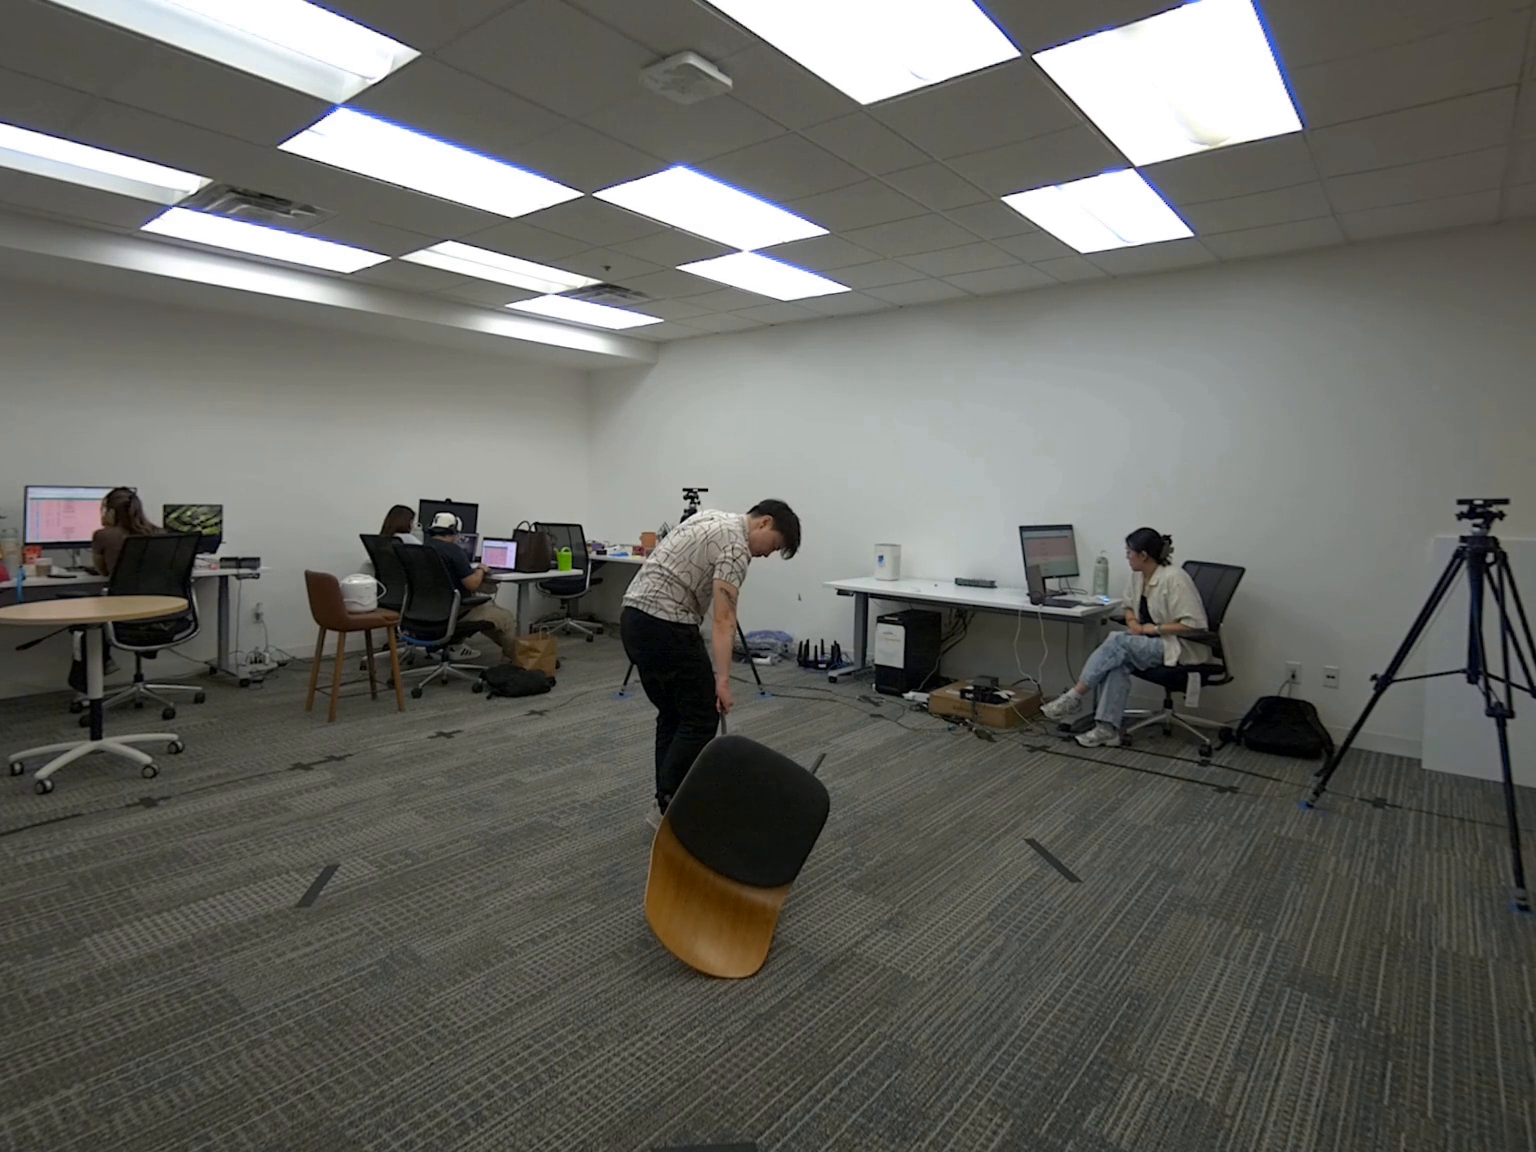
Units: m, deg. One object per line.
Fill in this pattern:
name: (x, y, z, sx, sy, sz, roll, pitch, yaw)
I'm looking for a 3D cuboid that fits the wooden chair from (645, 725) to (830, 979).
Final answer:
wooden chair: (-0.089, 0.806, 2.793, 0.477, 0.521, 0.882, 28, 10, -3)
